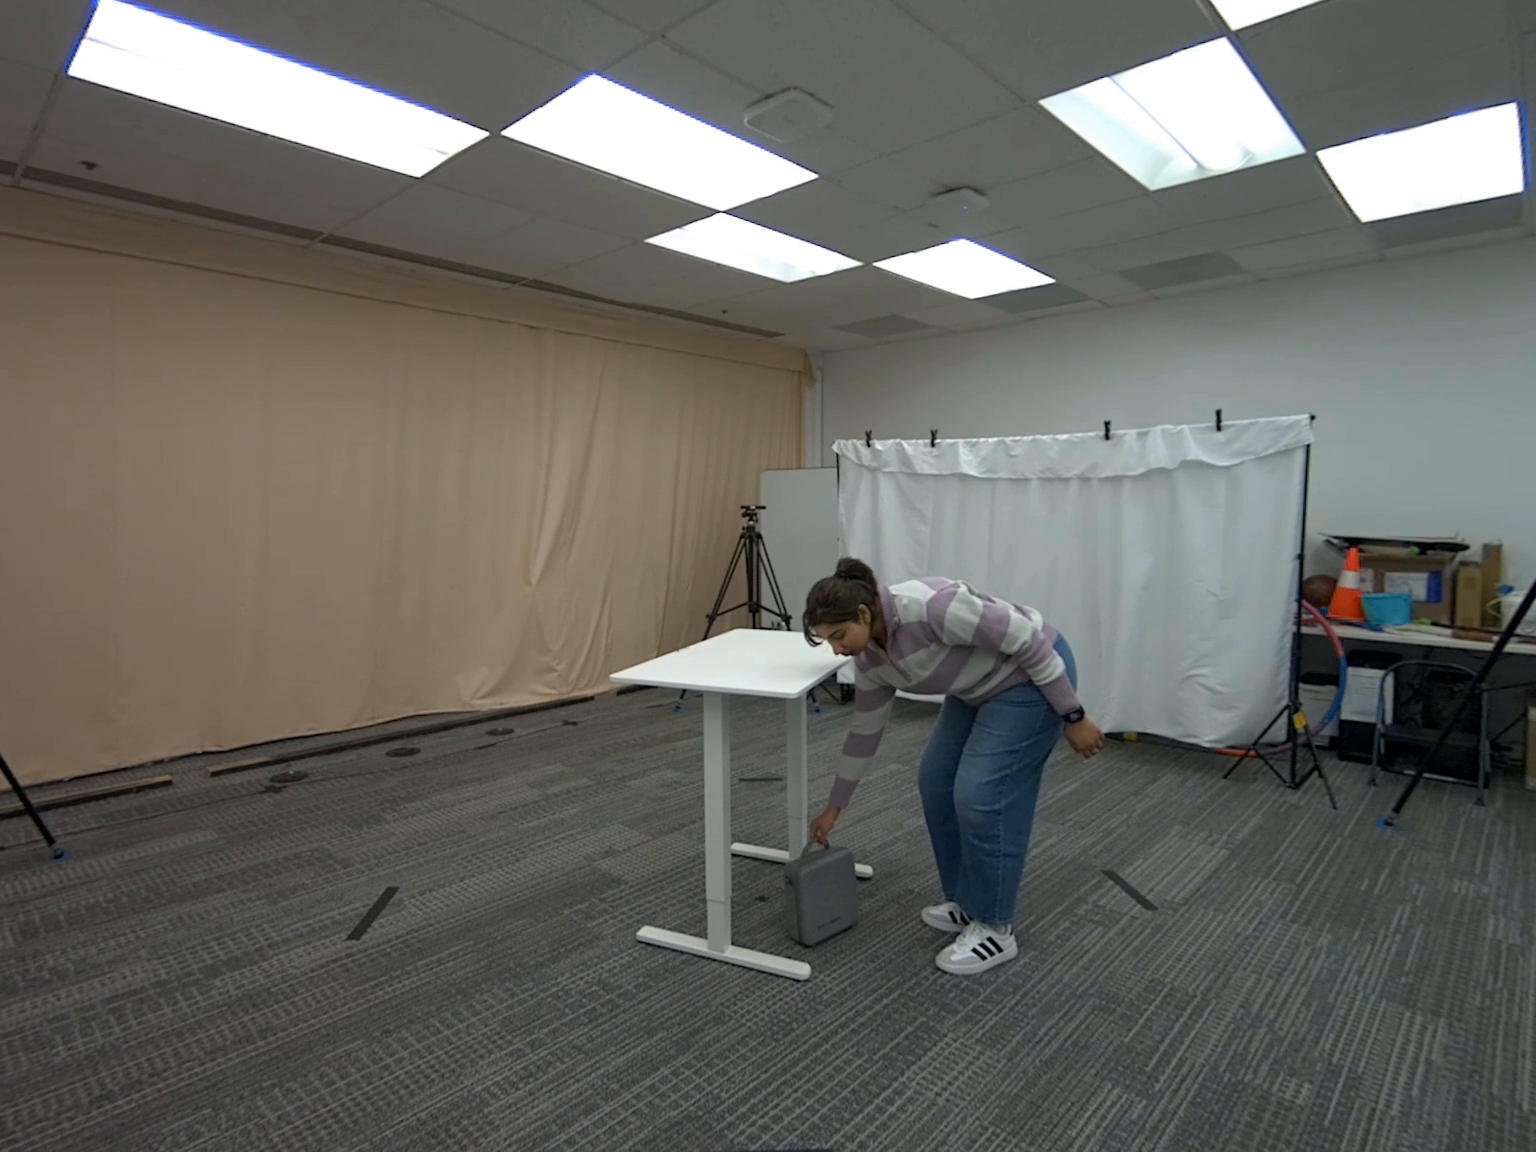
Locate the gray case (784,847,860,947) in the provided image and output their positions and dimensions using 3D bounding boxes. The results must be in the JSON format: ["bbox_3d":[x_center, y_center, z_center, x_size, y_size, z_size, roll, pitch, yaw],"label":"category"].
[{"bbox_3d":[0.175,1.035,2.742,0.249,0.260,0.107,-5,1,-38],"label":"gray case"}]
